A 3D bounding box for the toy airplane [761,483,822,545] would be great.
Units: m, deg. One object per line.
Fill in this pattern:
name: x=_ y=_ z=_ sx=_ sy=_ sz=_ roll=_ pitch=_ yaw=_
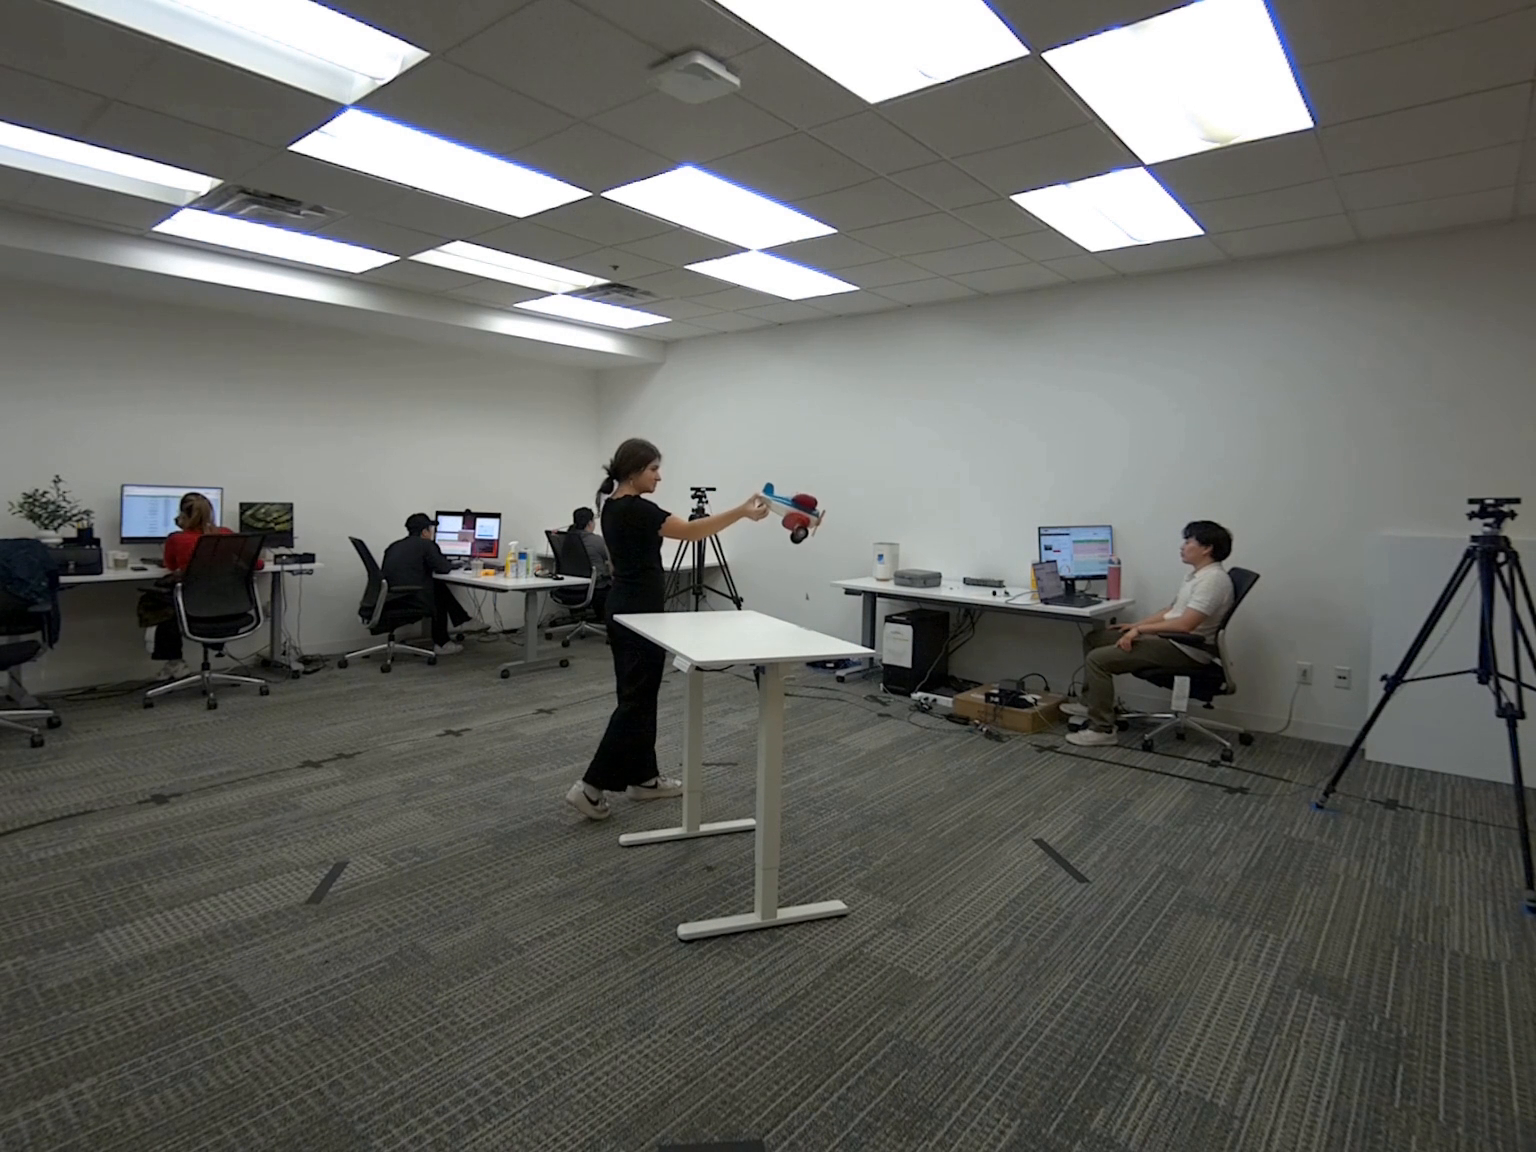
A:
toy airplane: x=0.063 y=-0.255 z=3.278 sx=0.250 sy=0.157 sz=0.259 roll=42 pitch=-14 yaw=-27
